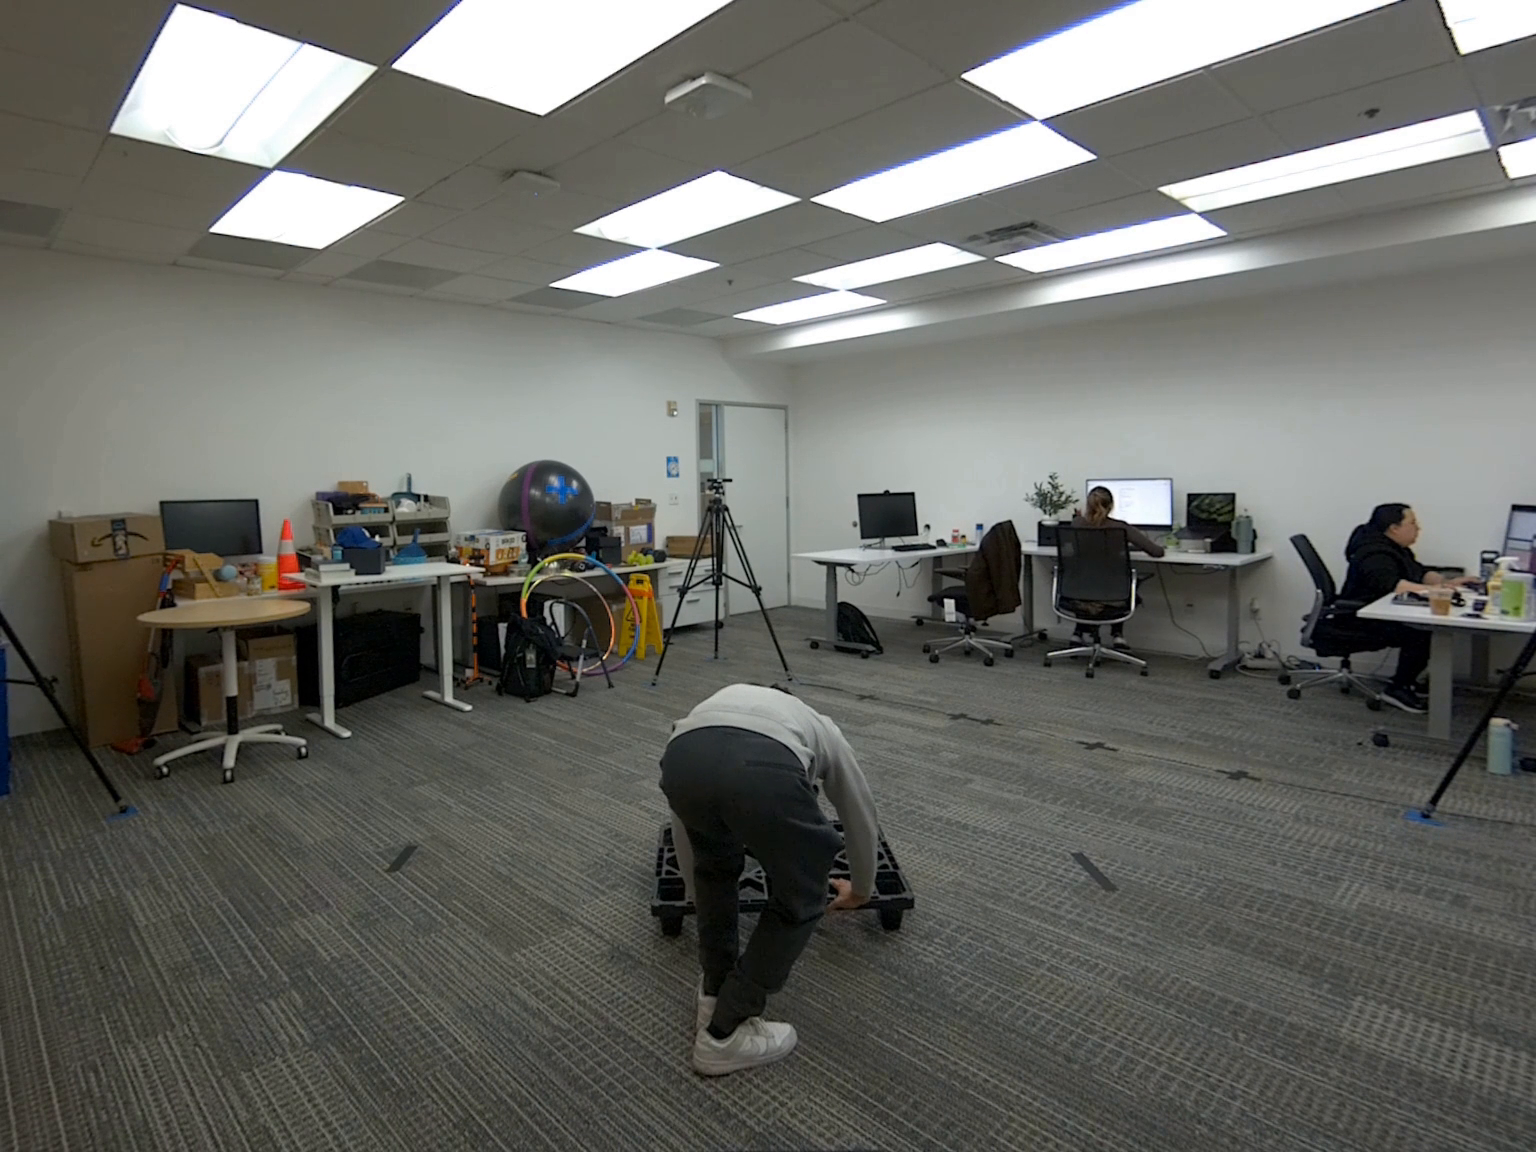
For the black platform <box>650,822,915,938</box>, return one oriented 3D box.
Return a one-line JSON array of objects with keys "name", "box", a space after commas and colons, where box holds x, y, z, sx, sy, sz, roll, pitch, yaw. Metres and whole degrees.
[{"name": "black platform", "box": [0.030, 1.002, 2.860, 0.804, 0.143, 0.609, -1, 6, -2]}]
